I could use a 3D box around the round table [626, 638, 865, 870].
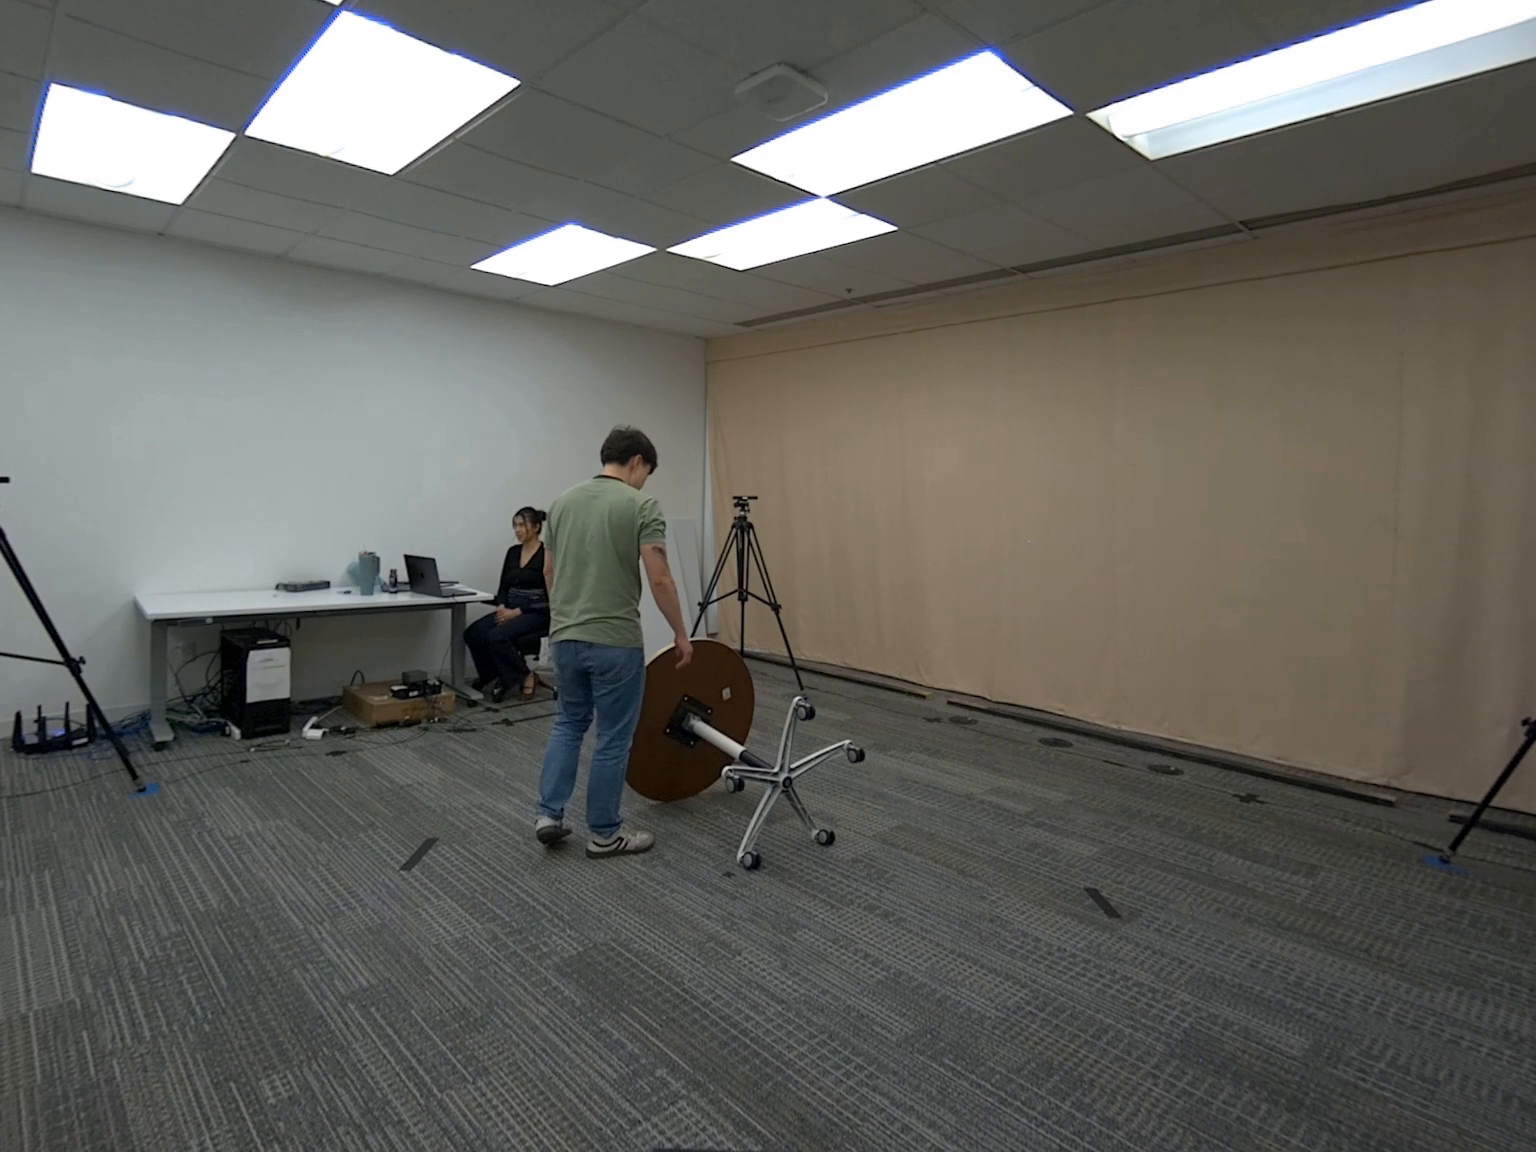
[{"bbox_3d":[-0.133,0.735,3.516,0.747,0.759,0.817,-2,13,-39],"label":"round table"}]
